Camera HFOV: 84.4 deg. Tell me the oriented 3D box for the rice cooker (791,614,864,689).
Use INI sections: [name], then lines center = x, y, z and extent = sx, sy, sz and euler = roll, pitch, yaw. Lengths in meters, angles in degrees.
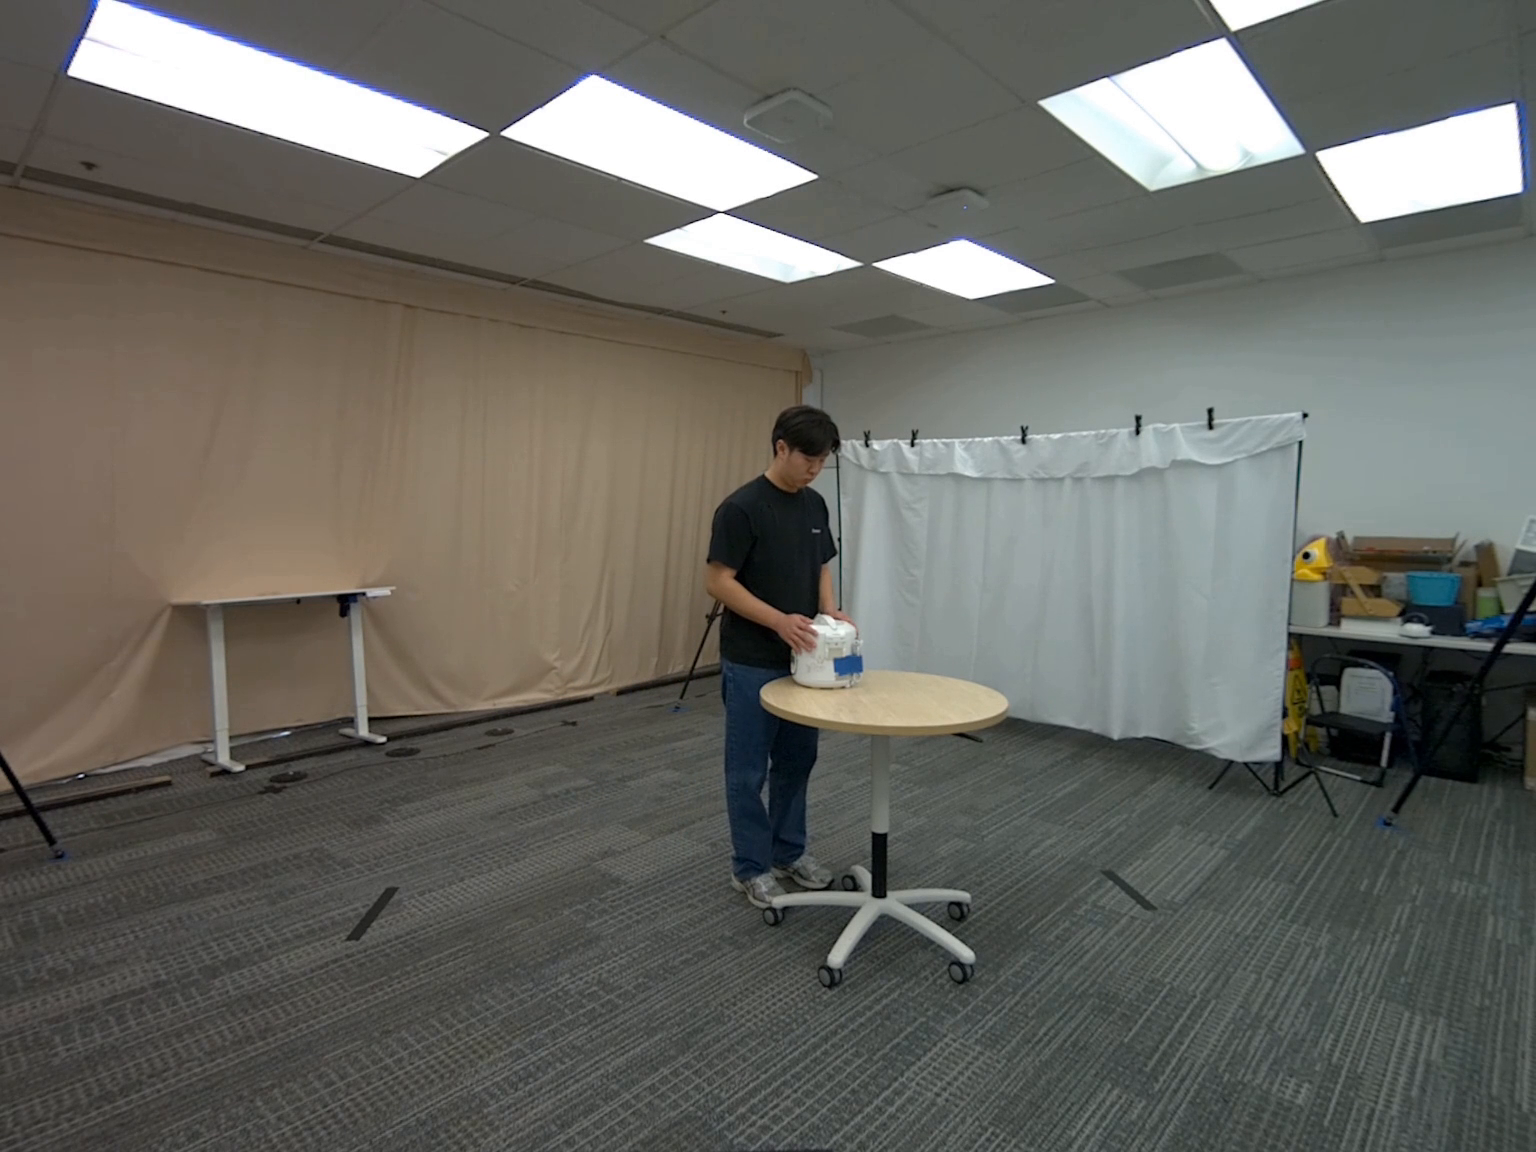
[rice cooker]
center = 0.188, 0.245, 2.806
extent = 0.214, 0.232, 0.224
euler = 0, 2, -14
